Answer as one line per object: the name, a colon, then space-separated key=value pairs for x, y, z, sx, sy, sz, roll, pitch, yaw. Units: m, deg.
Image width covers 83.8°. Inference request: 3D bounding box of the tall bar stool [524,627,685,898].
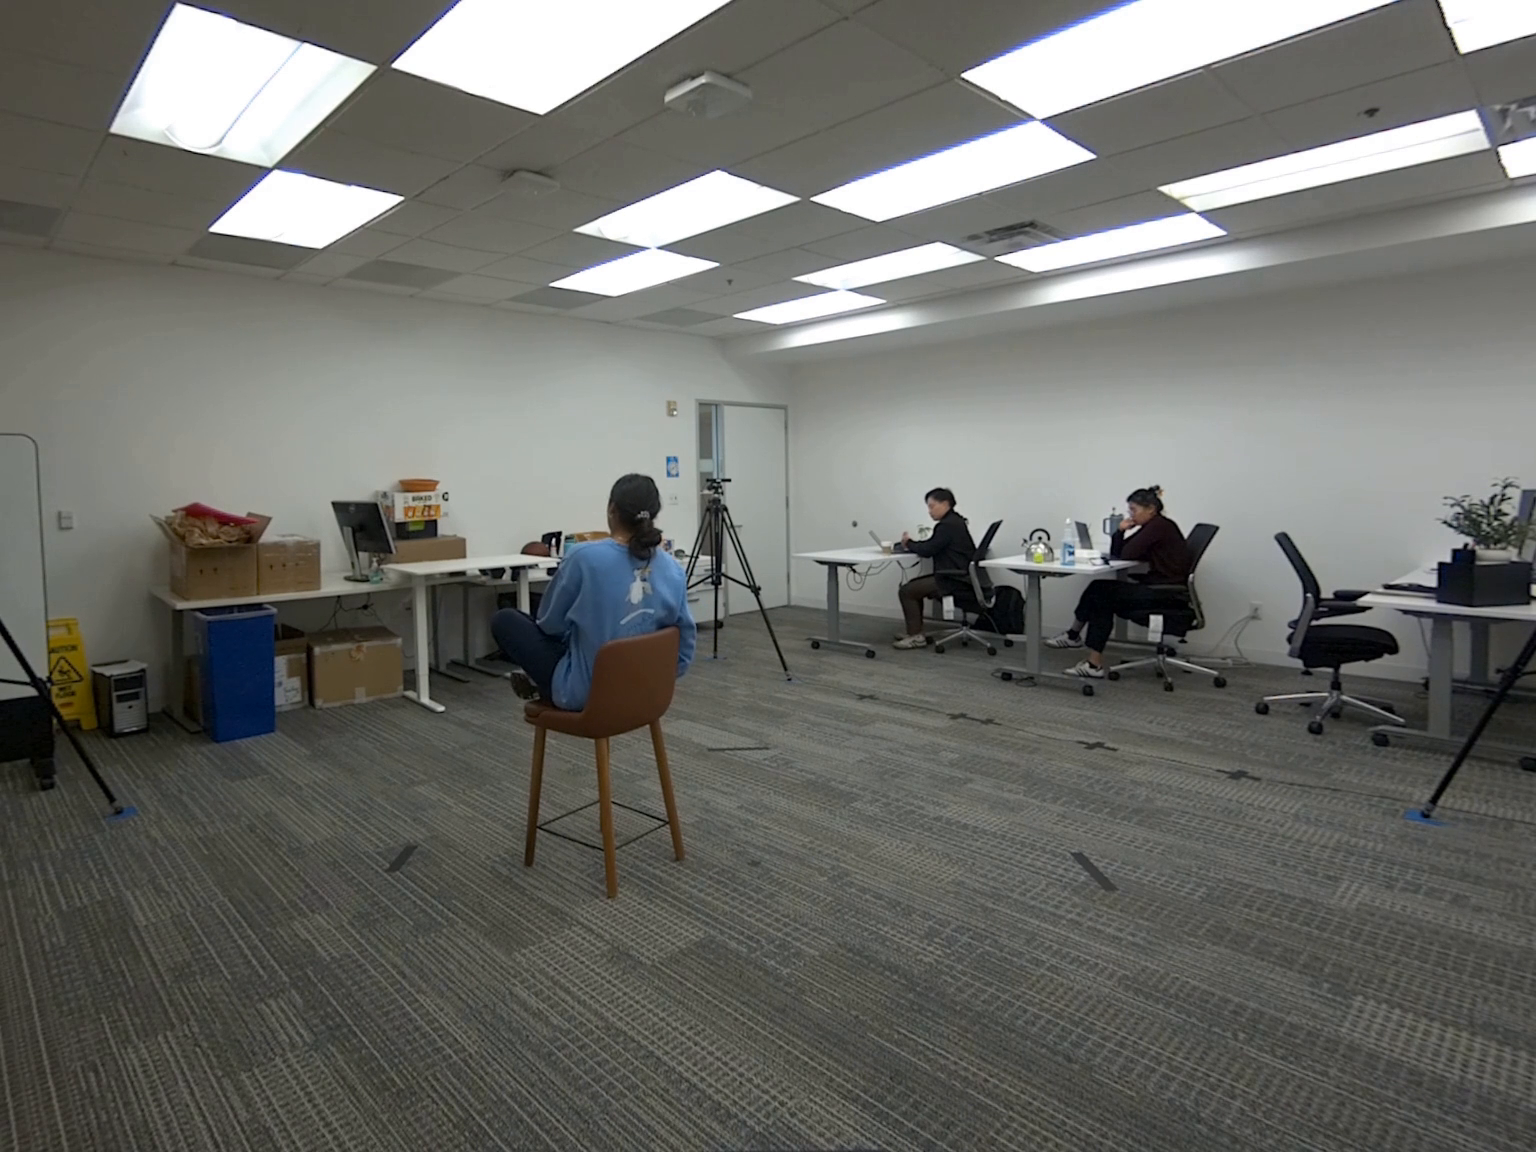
tall bar stool: x=-0.592 y=0.619 z=3.113 sx=0.482 sy=0.885 sz=0.445 roll=5 pitch=7 yaw=37
